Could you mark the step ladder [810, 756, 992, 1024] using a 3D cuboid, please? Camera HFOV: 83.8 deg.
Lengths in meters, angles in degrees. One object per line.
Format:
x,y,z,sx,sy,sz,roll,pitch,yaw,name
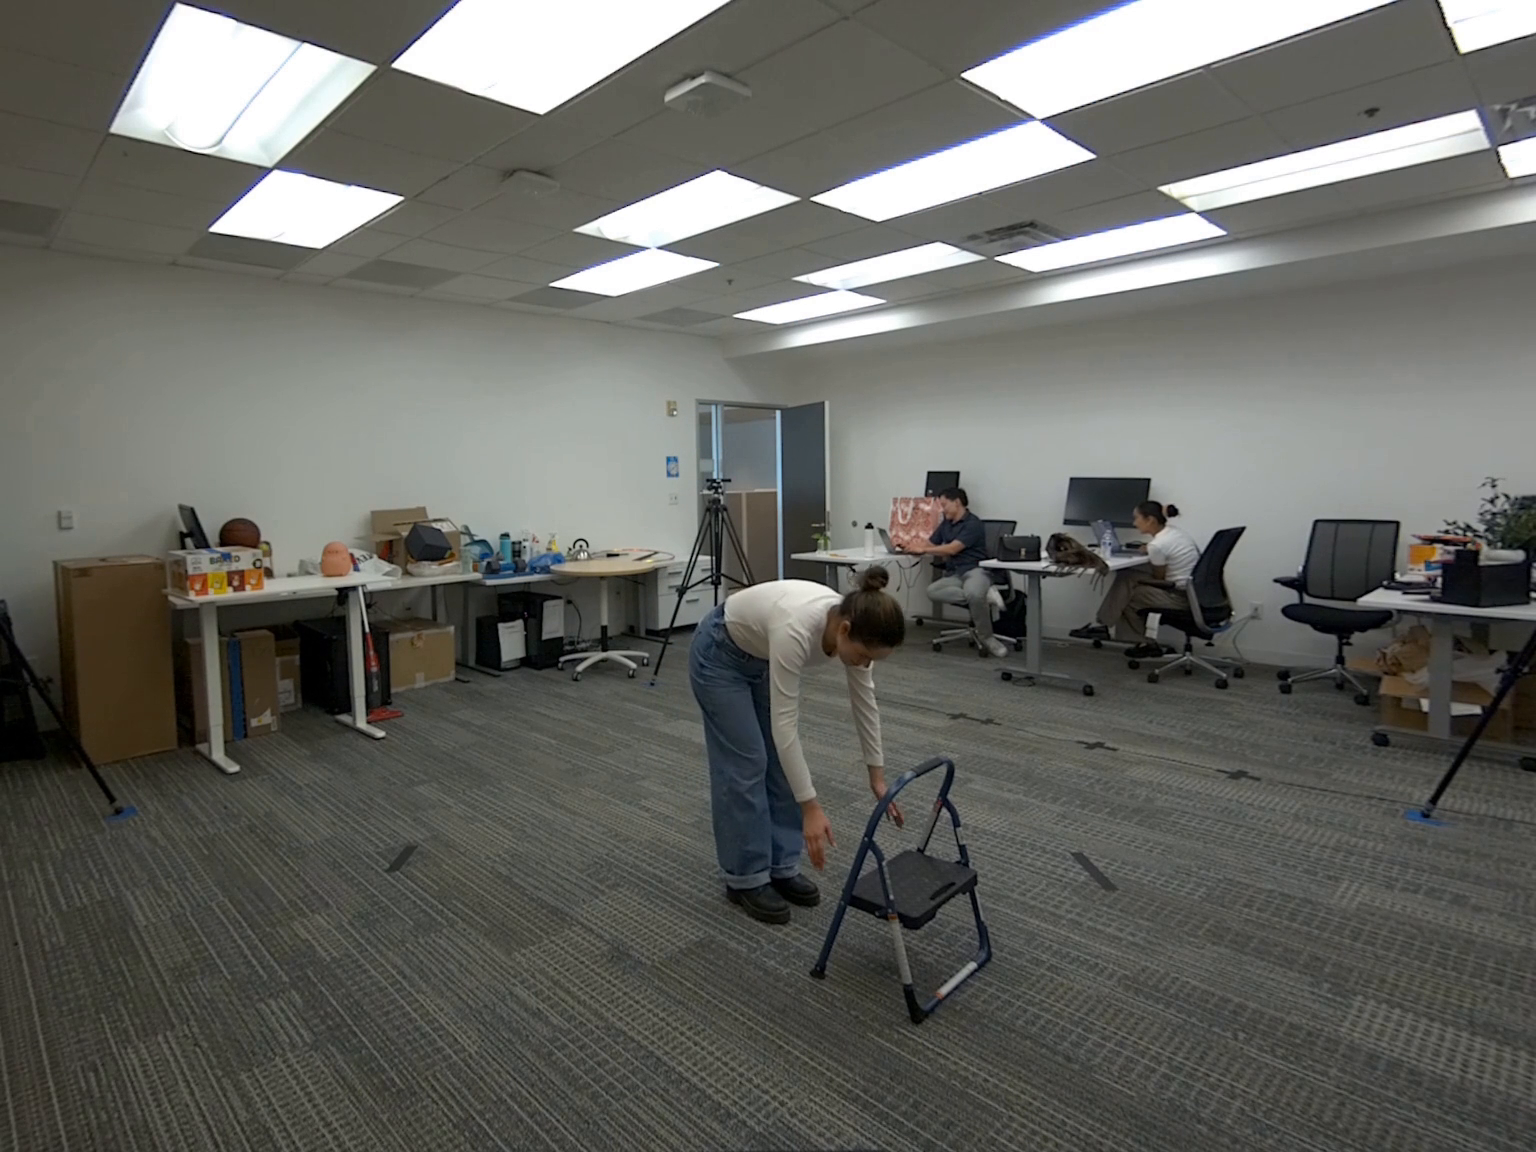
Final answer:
0.387,0.815,2.417,0.360,0.604,0.419,3,6,41,step ladder
